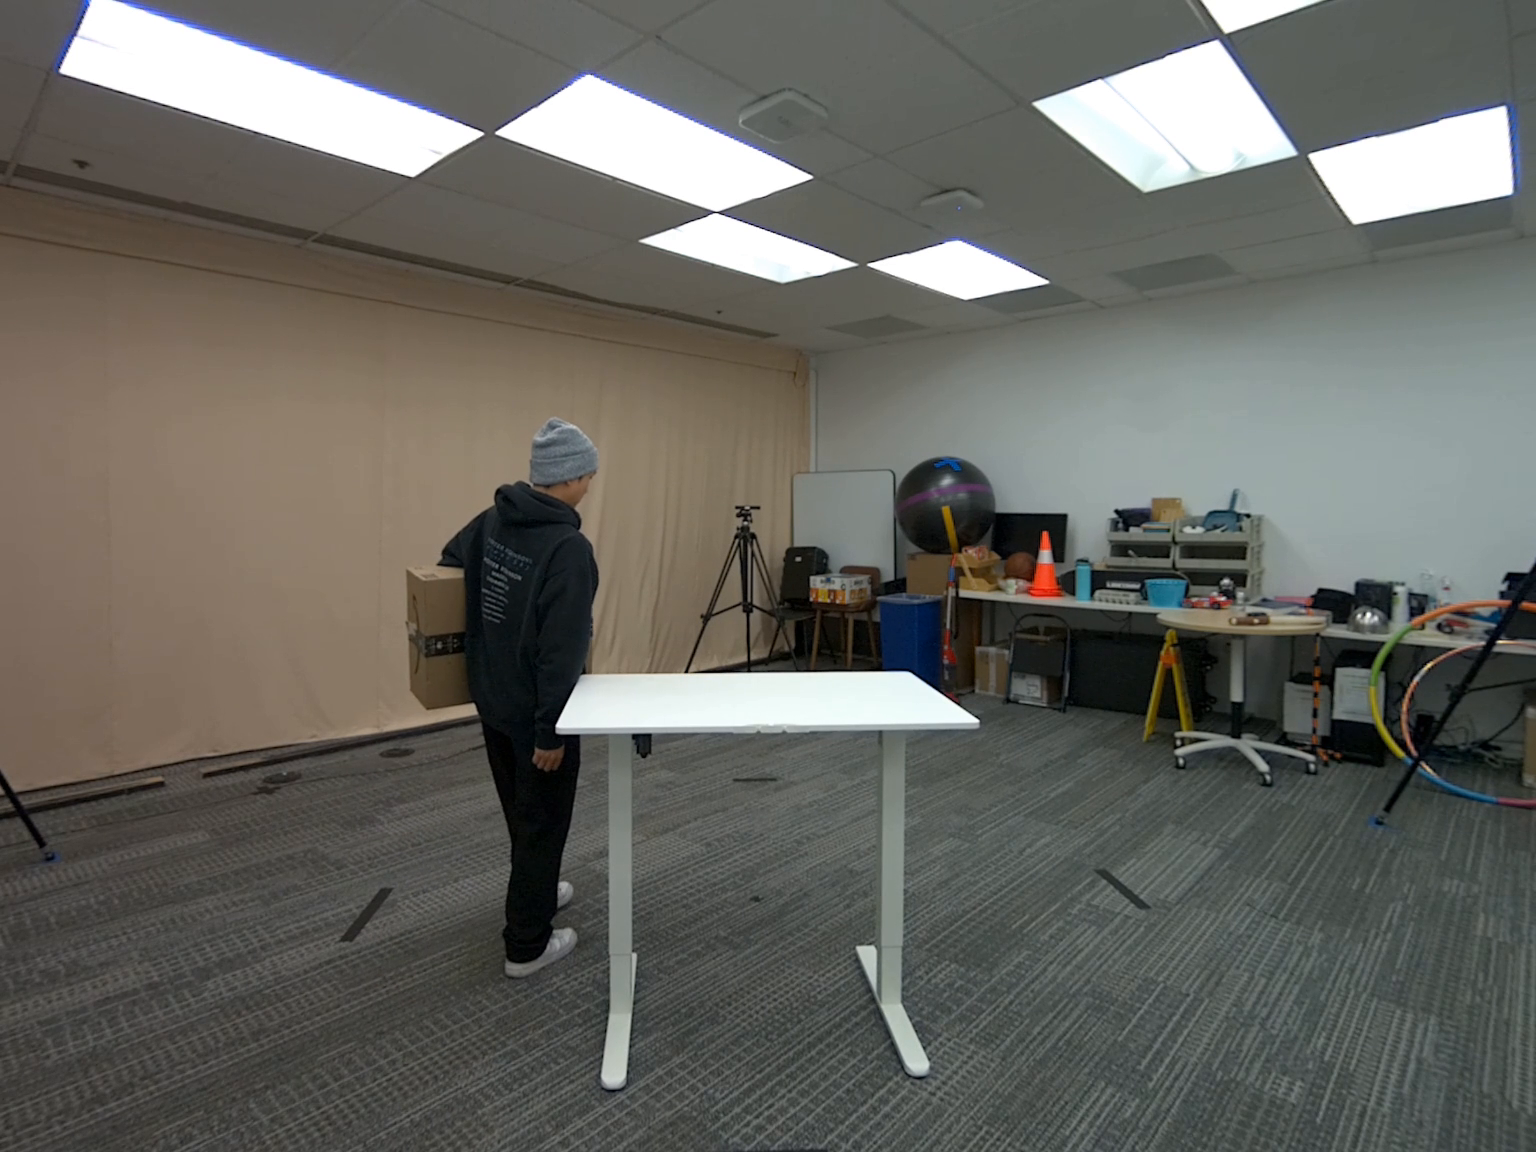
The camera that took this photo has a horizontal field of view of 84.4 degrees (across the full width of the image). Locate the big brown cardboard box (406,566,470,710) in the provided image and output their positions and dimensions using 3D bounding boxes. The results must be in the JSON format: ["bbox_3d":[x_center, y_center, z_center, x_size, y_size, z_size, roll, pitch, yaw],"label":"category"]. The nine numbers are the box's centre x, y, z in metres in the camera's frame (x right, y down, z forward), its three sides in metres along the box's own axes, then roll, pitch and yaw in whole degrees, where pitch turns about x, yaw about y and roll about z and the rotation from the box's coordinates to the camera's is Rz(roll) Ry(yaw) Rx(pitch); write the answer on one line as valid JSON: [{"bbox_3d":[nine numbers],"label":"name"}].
[{"bbox_3d":[-0.884,0.175,2.824,0.573,0.415,0.241,-4,11,-33],"label":"big brown cardboard box"}]
